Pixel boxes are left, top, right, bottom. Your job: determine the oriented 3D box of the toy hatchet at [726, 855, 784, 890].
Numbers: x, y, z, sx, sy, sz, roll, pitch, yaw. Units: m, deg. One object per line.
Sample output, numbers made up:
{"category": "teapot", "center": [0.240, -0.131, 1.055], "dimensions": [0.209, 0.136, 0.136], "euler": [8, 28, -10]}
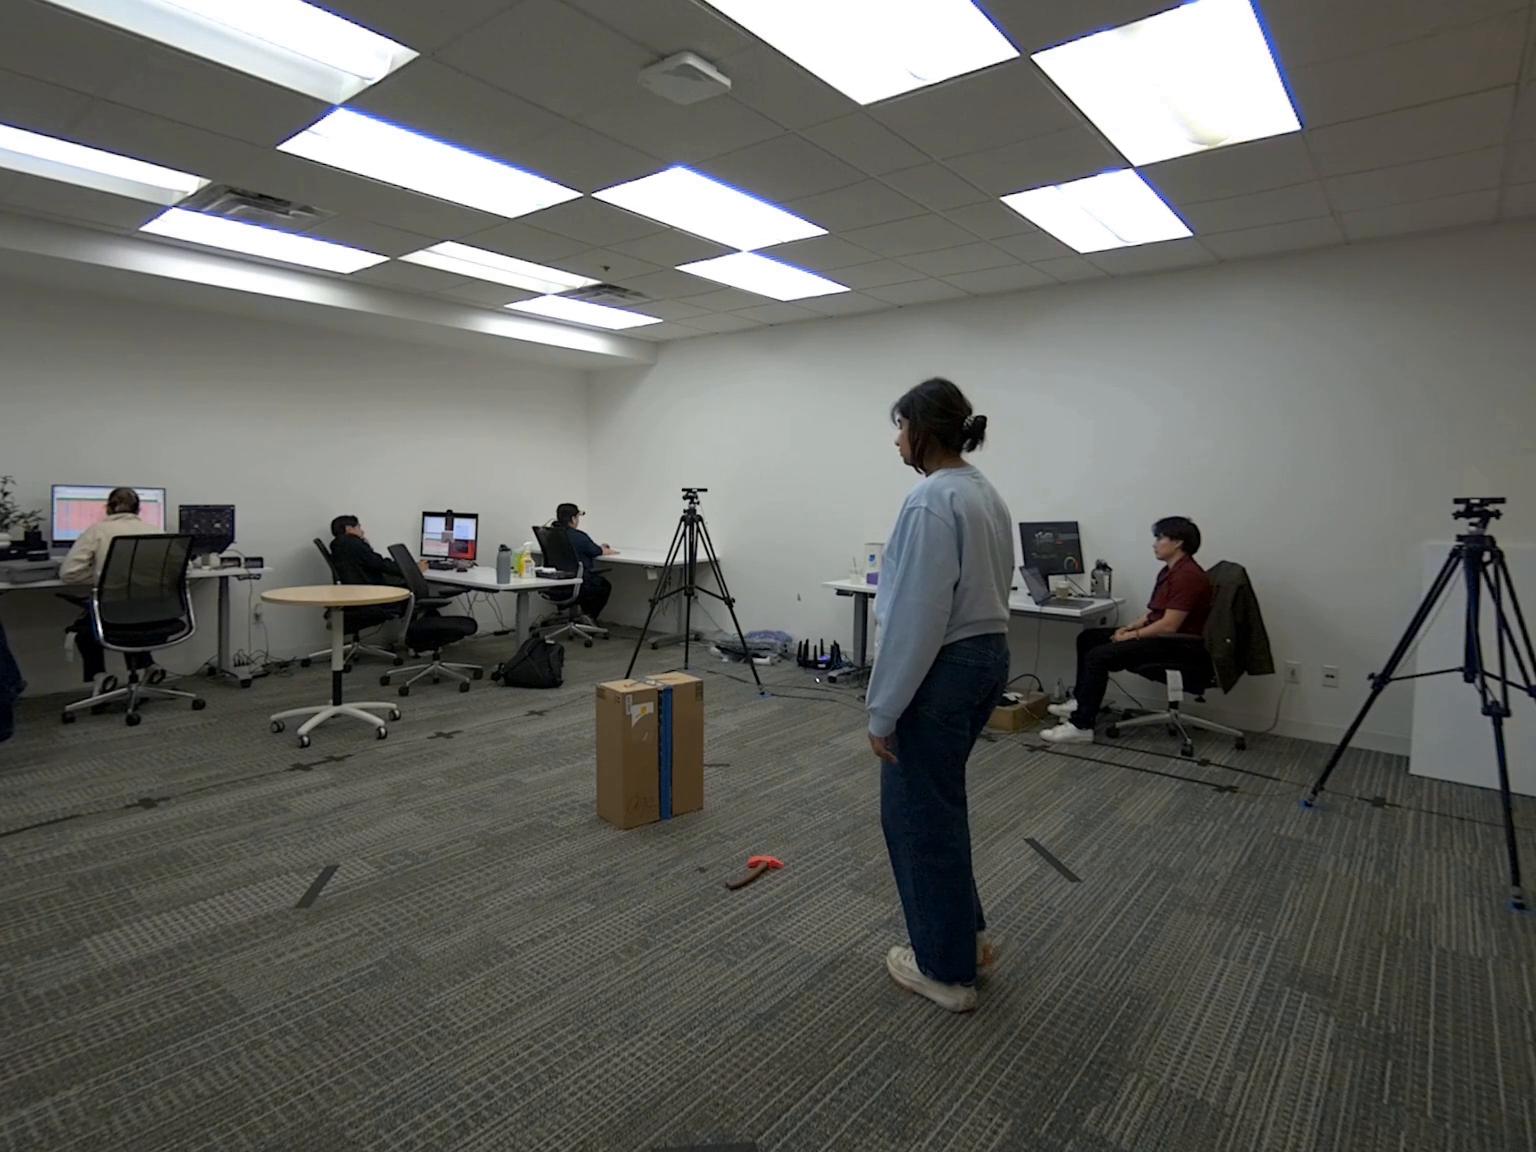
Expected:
{"category": "toy hatchet", "center": [-0.085, 1.060, 3.077], "dimensions": [0.262, 0.029, 0.135], "euler": [-7, 9, -44]}
